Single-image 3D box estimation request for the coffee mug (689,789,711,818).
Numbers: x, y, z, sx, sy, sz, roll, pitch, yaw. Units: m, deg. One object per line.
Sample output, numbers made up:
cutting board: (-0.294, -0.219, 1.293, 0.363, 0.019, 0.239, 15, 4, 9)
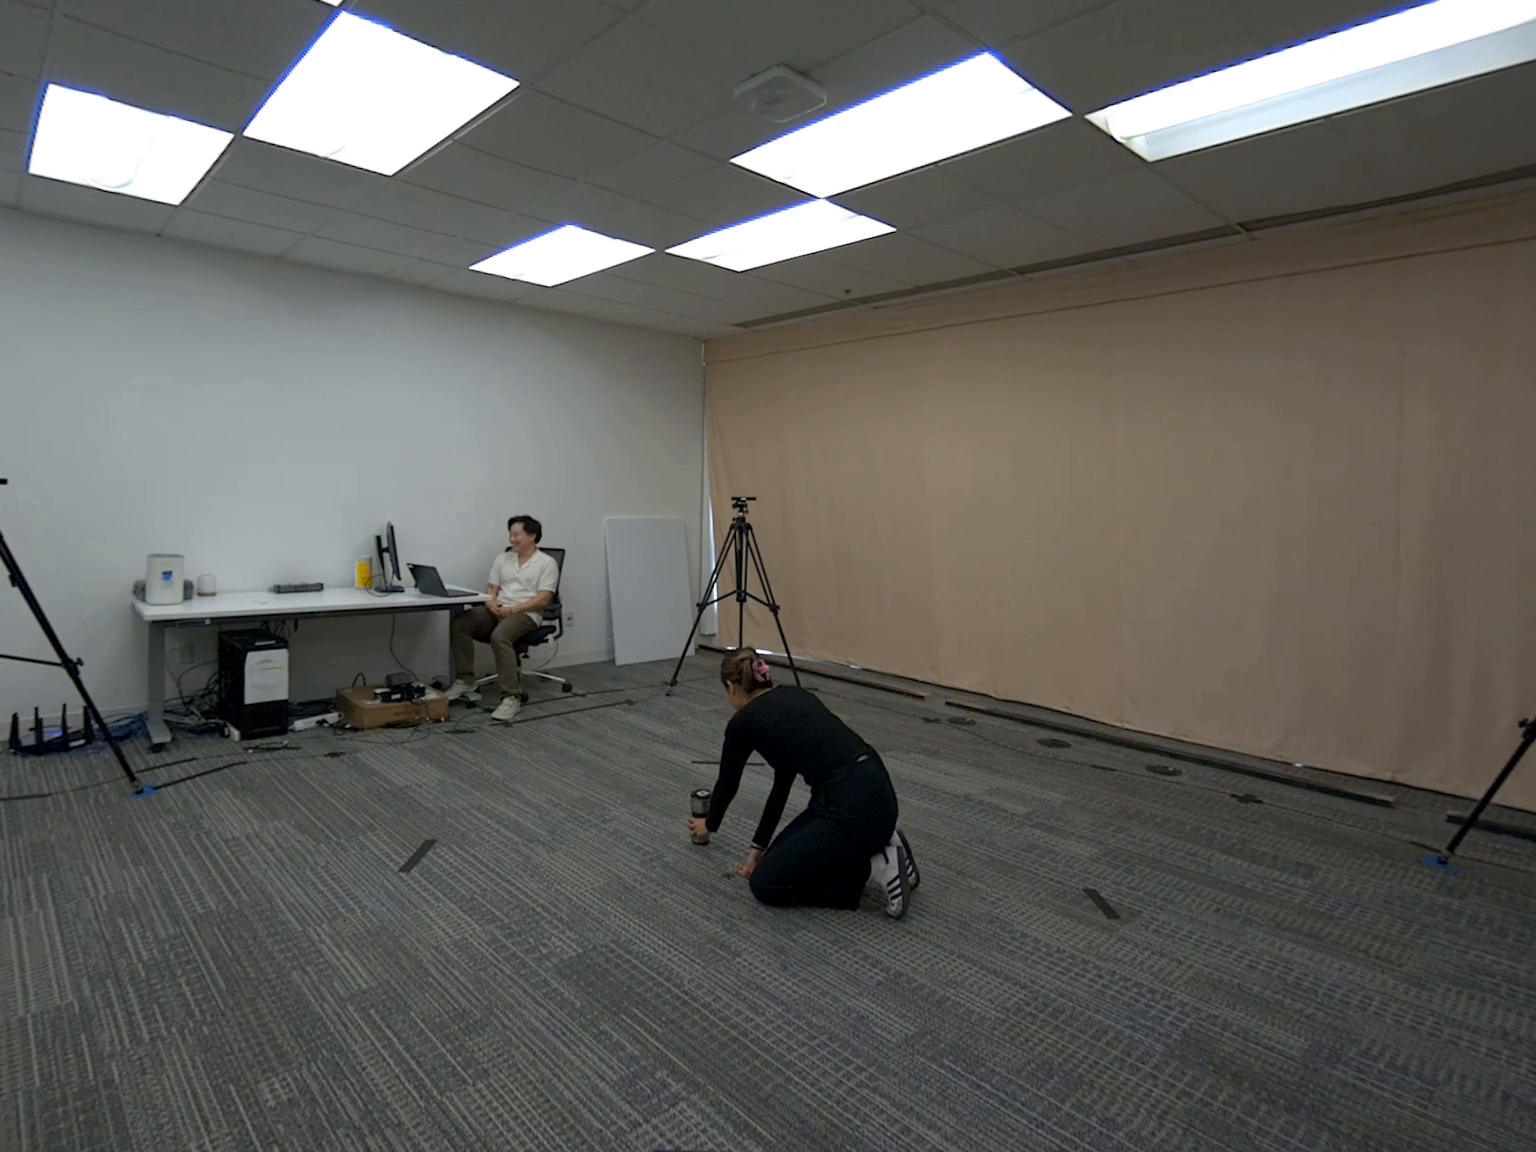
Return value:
coffee mug: (-0.269, 0.975, 3.417, 0.089, 0.203, 0.120, -2, 2, 28)
